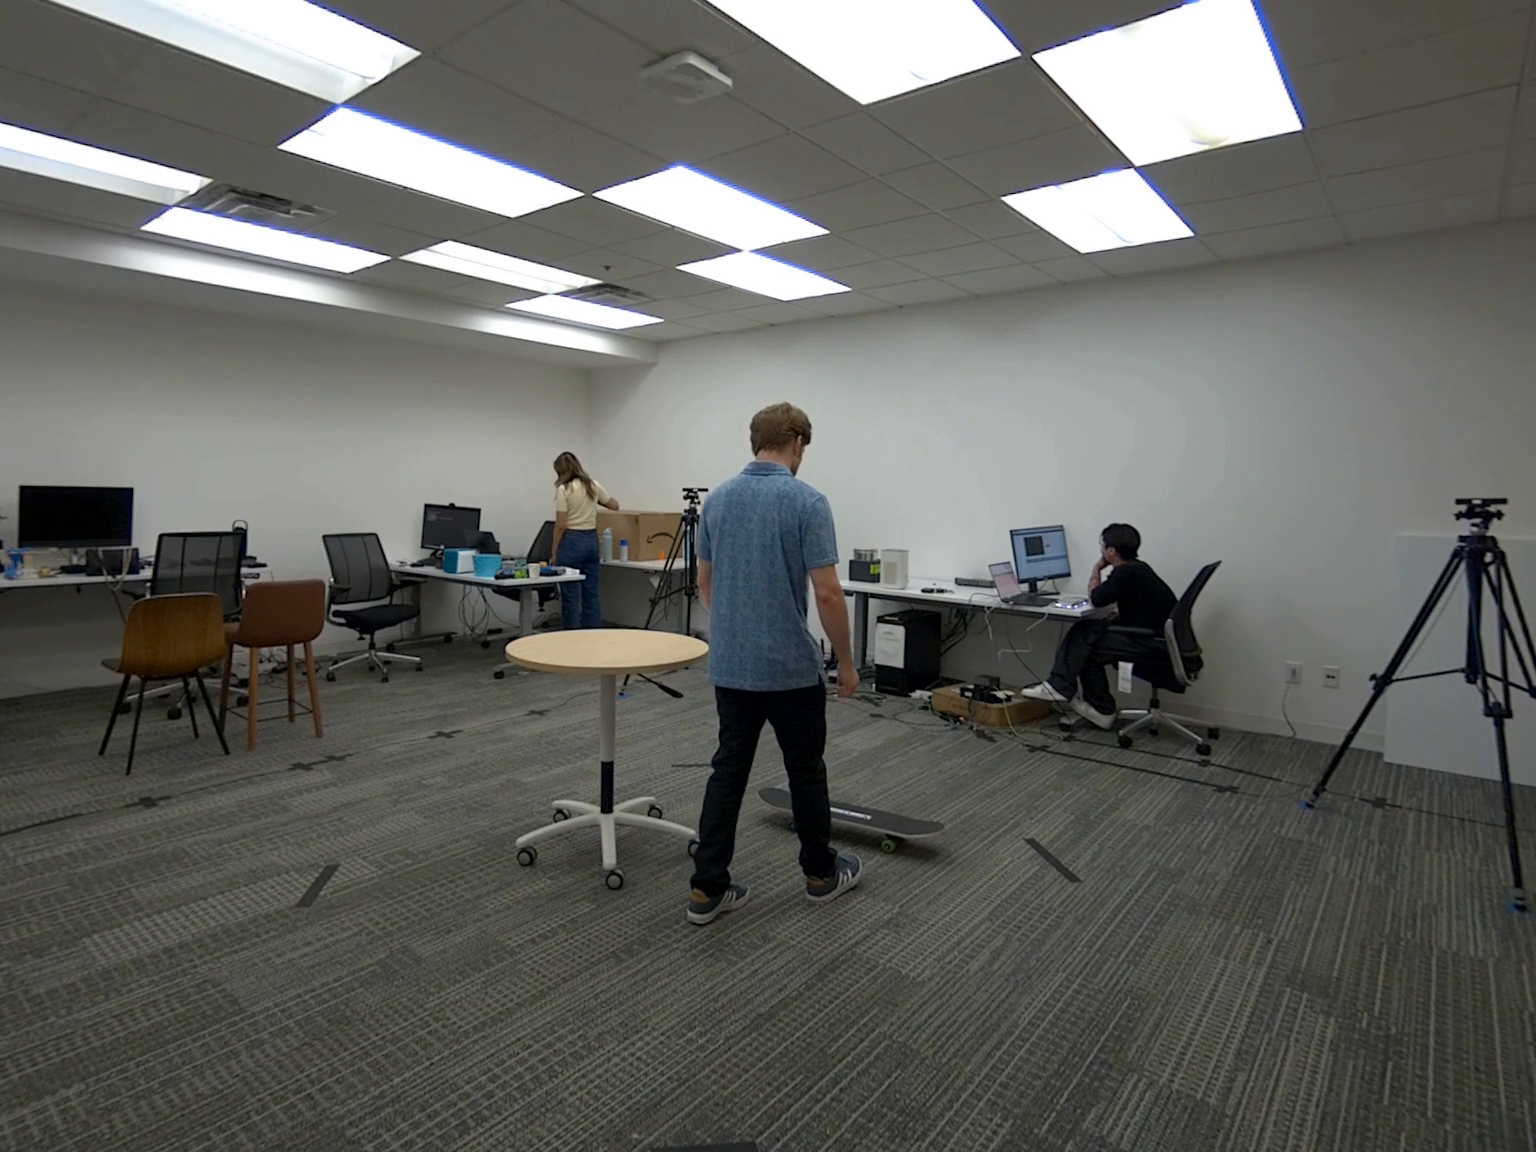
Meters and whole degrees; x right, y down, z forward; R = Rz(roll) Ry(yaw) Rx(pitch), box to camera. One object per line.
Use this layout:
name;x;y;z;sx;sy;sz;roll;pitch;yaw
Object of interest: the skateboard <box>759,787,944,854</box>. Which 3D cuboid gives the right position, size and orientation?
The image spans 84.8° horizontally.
skateboard;0.307;0.982;3.453;0.807;0.110;0.189;5;6;26
